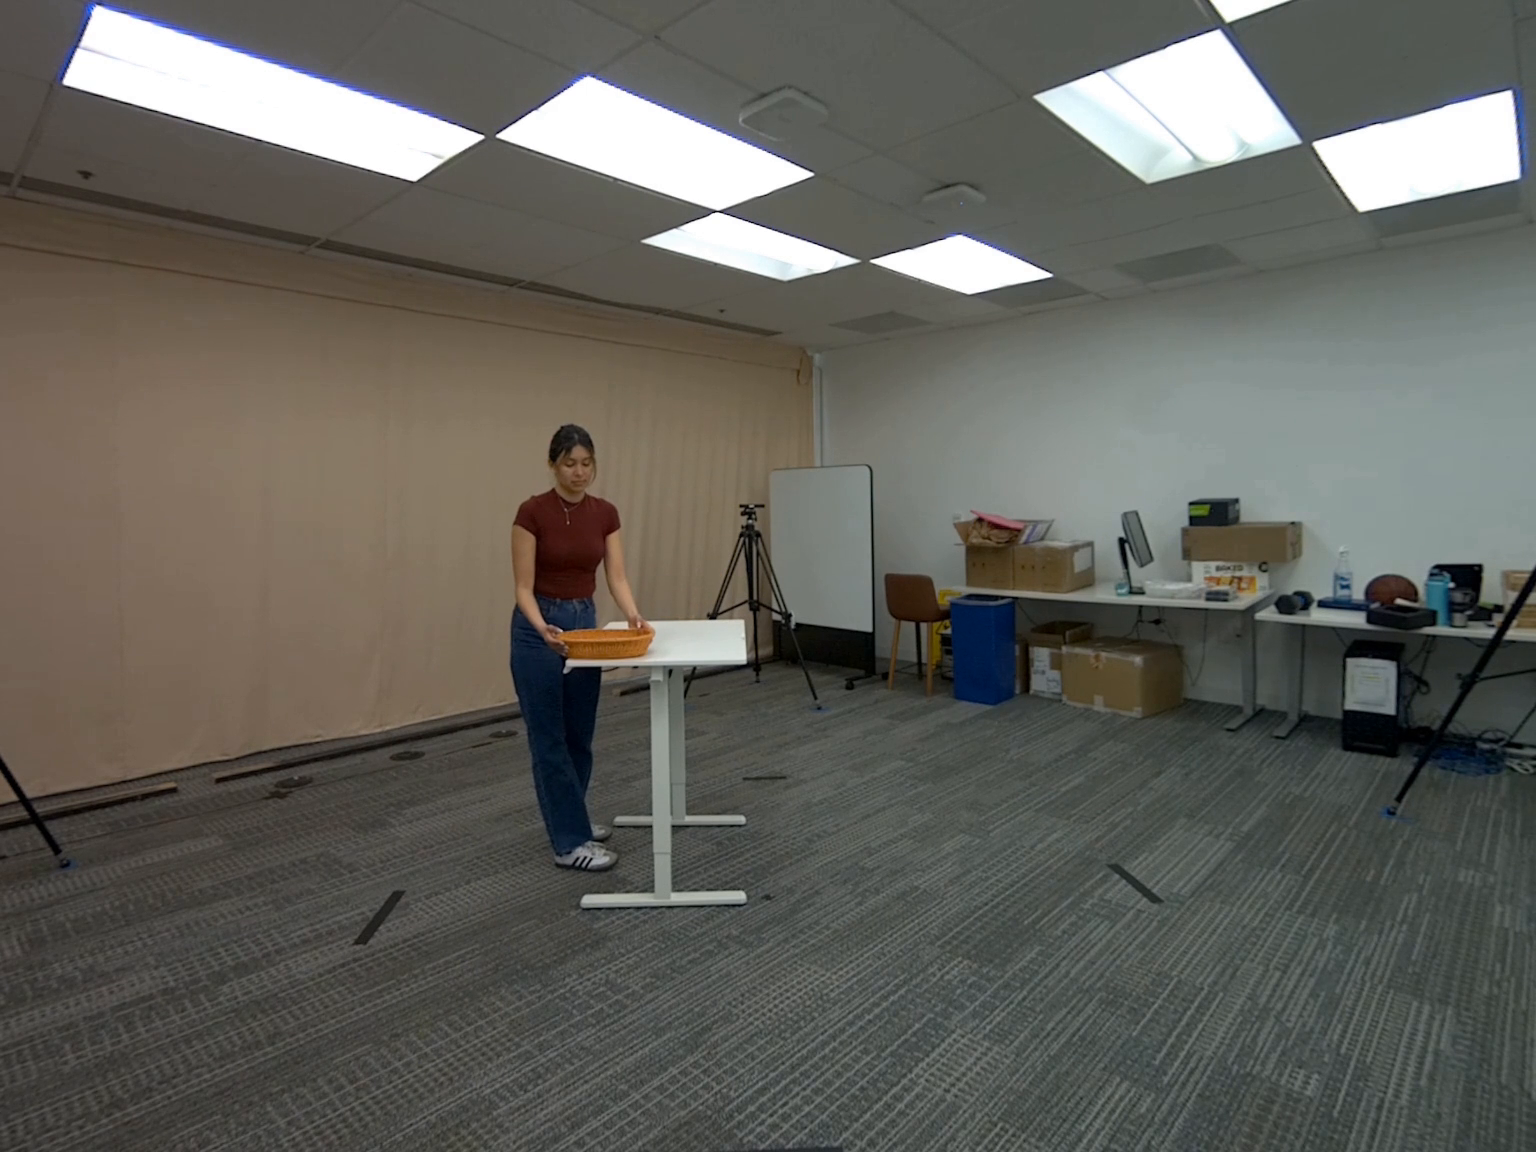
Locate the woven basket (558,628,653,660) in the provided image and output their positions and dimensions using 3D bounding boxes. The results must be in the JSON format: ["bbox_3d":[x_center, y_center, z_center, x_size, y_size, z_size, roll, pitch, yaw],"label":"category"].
[{"bbox_3d":[-0.567,0.236,2.911,0.350,0.073,0.254,0,5,-3],"label":"woven basket"}]
